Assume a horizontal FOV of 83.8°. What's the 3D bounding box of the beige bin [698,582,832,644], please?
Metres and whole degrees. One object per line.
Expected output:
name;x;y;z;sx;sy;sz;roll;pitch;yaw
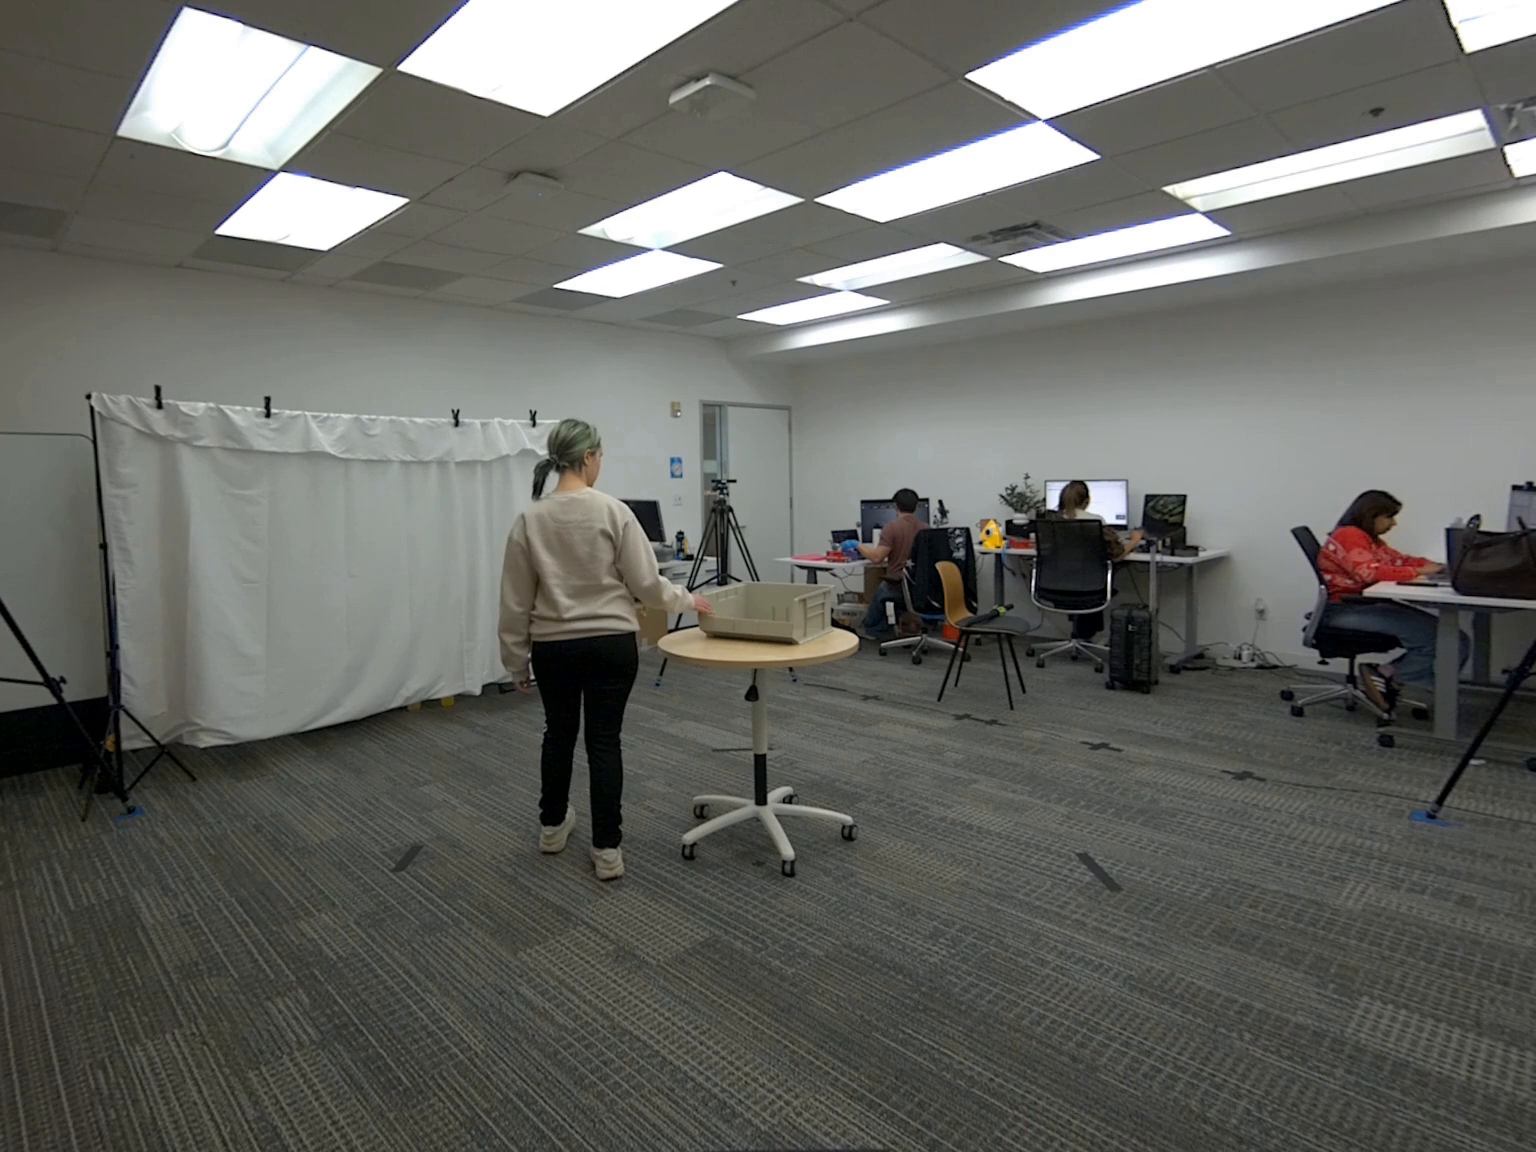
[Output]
beige bin;-0.001;0.142;3.363;0.433;0.188;0.369;1;5;29
